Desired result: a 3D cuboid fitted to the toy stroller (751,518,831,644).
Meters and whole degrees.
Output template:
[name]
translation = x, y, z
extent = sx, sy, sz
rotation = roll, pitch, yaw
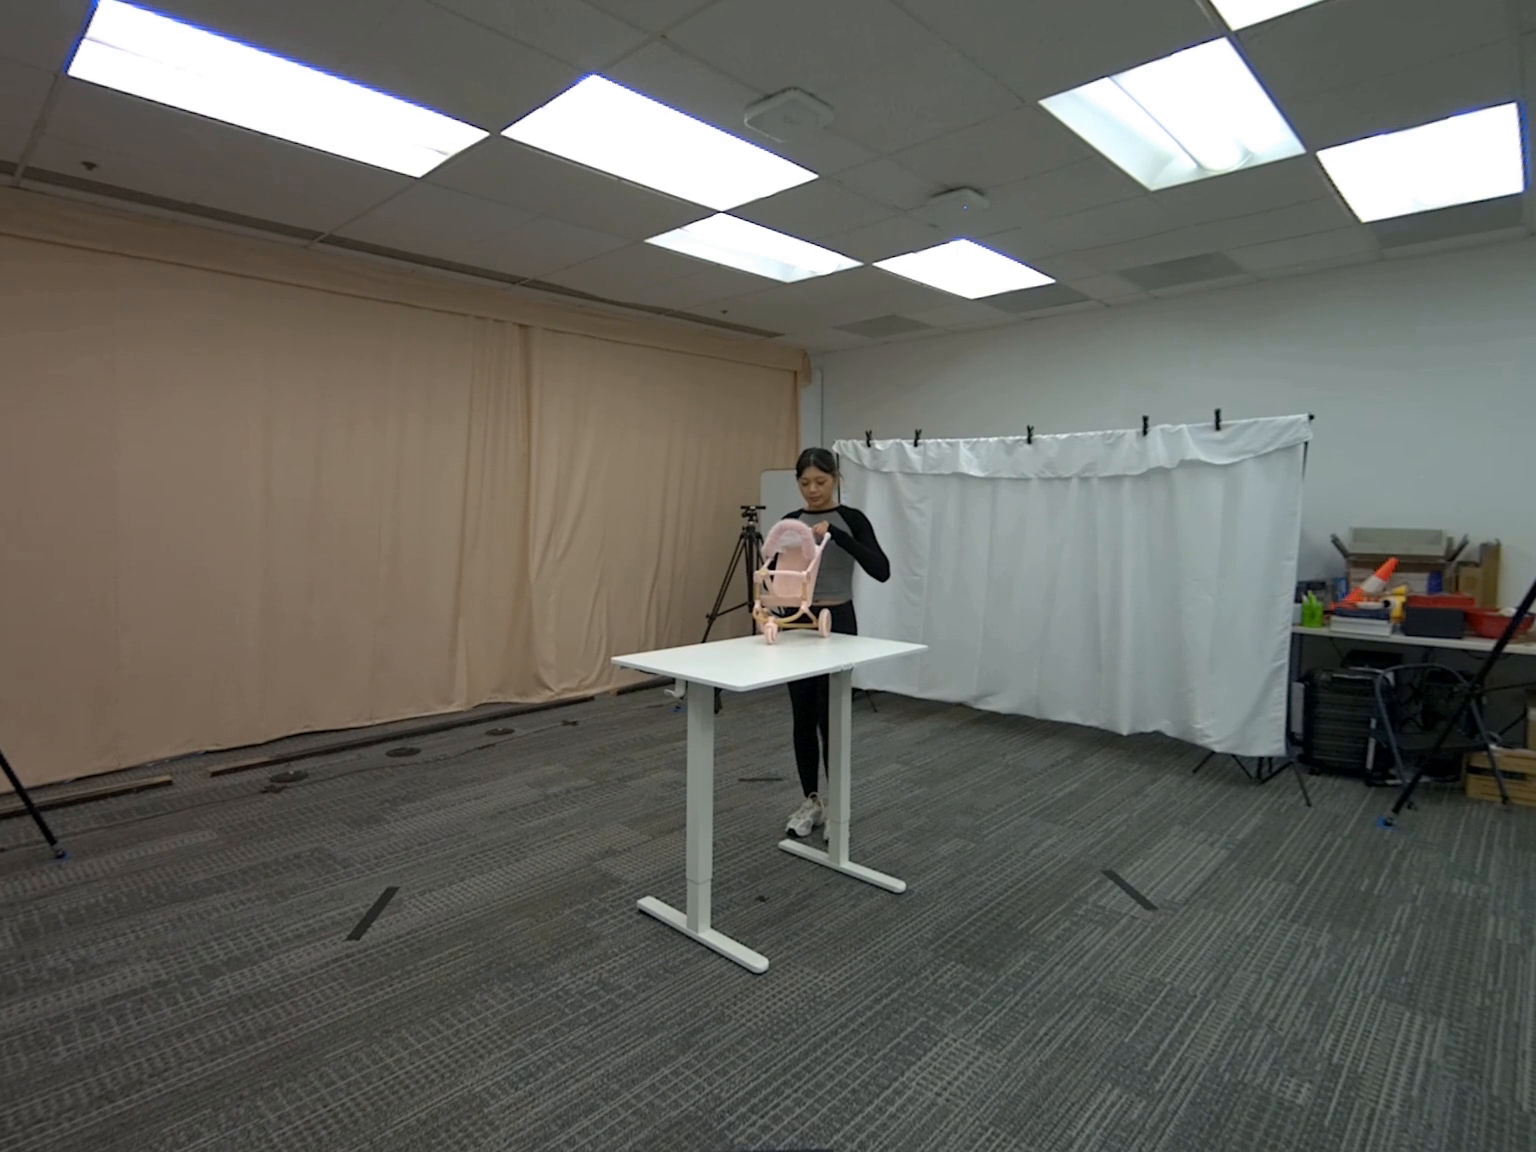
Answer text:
[toy stroller]
translation = 0.075, 0.019, 3.253
extent = 0.289, 0.538, 0.330
rotation = -1, -15, 28
